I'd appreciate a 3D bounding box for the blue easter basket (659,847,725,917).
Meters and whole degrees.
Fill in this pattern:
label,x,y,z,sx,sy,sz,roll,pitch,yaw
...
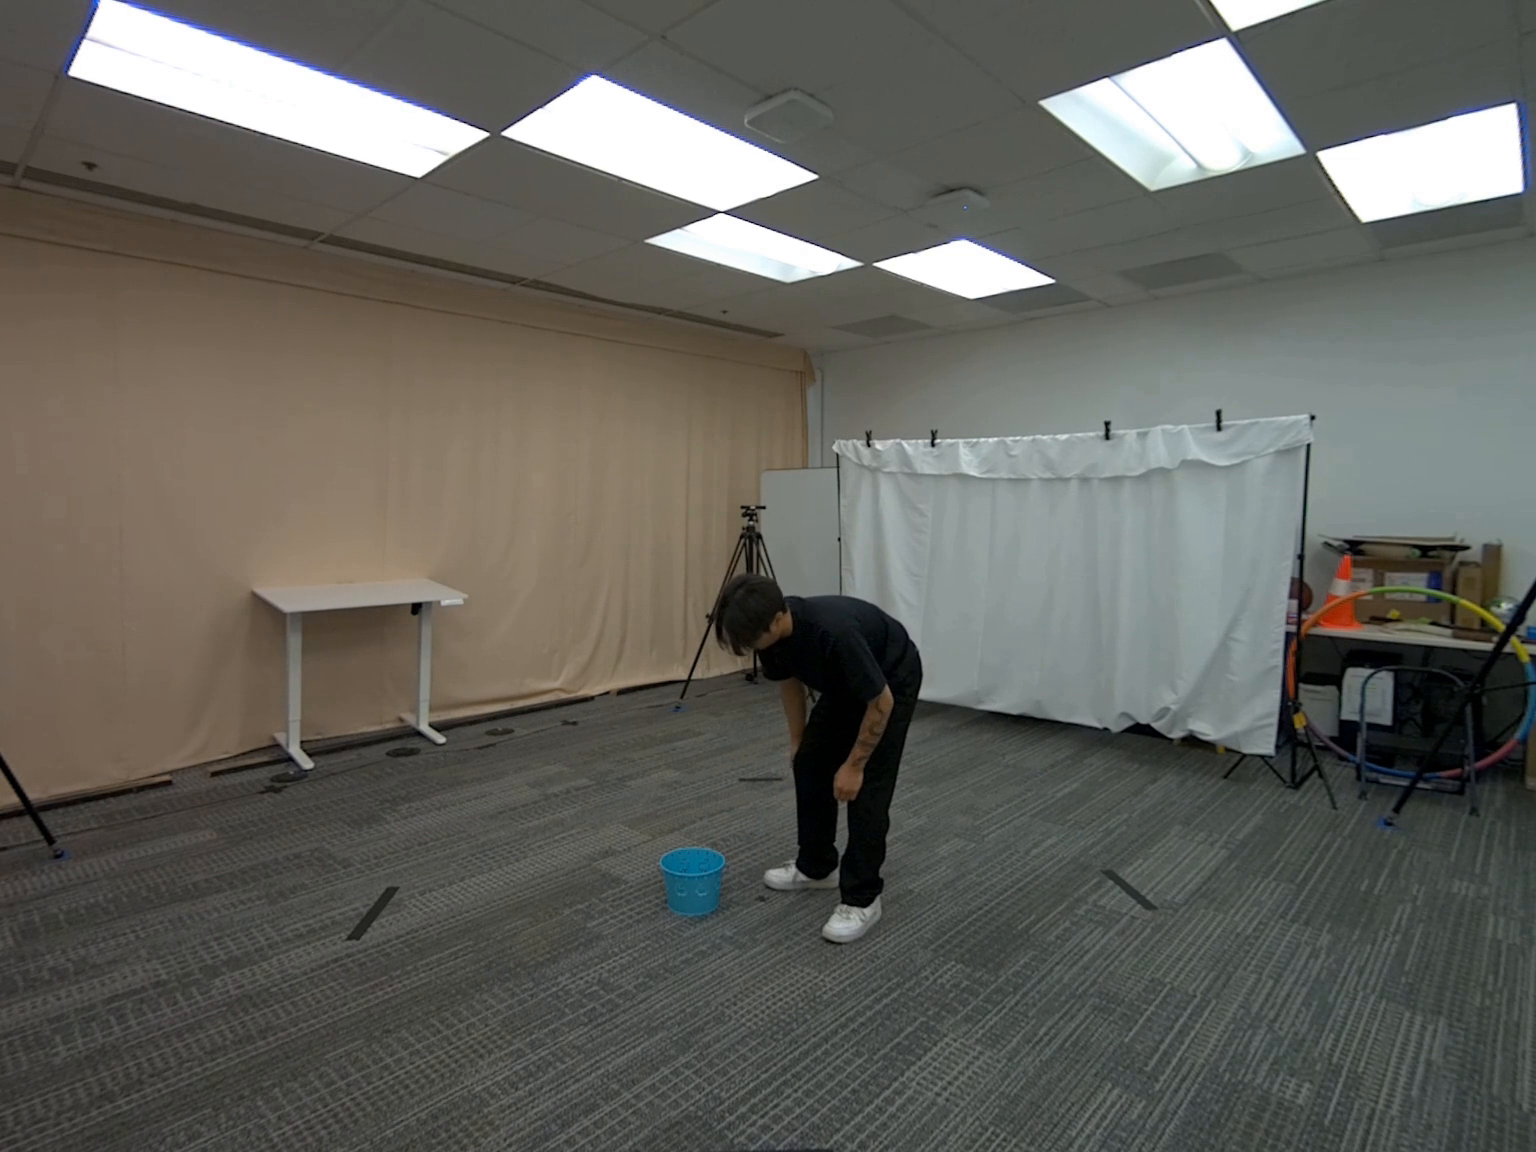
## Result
label,x,y,z,sx,sy,sz,roll,pitch,yaw
blue easter basket,-0.261,1.070,2.949,0.243,0.155,0.244,-1,4,-2
